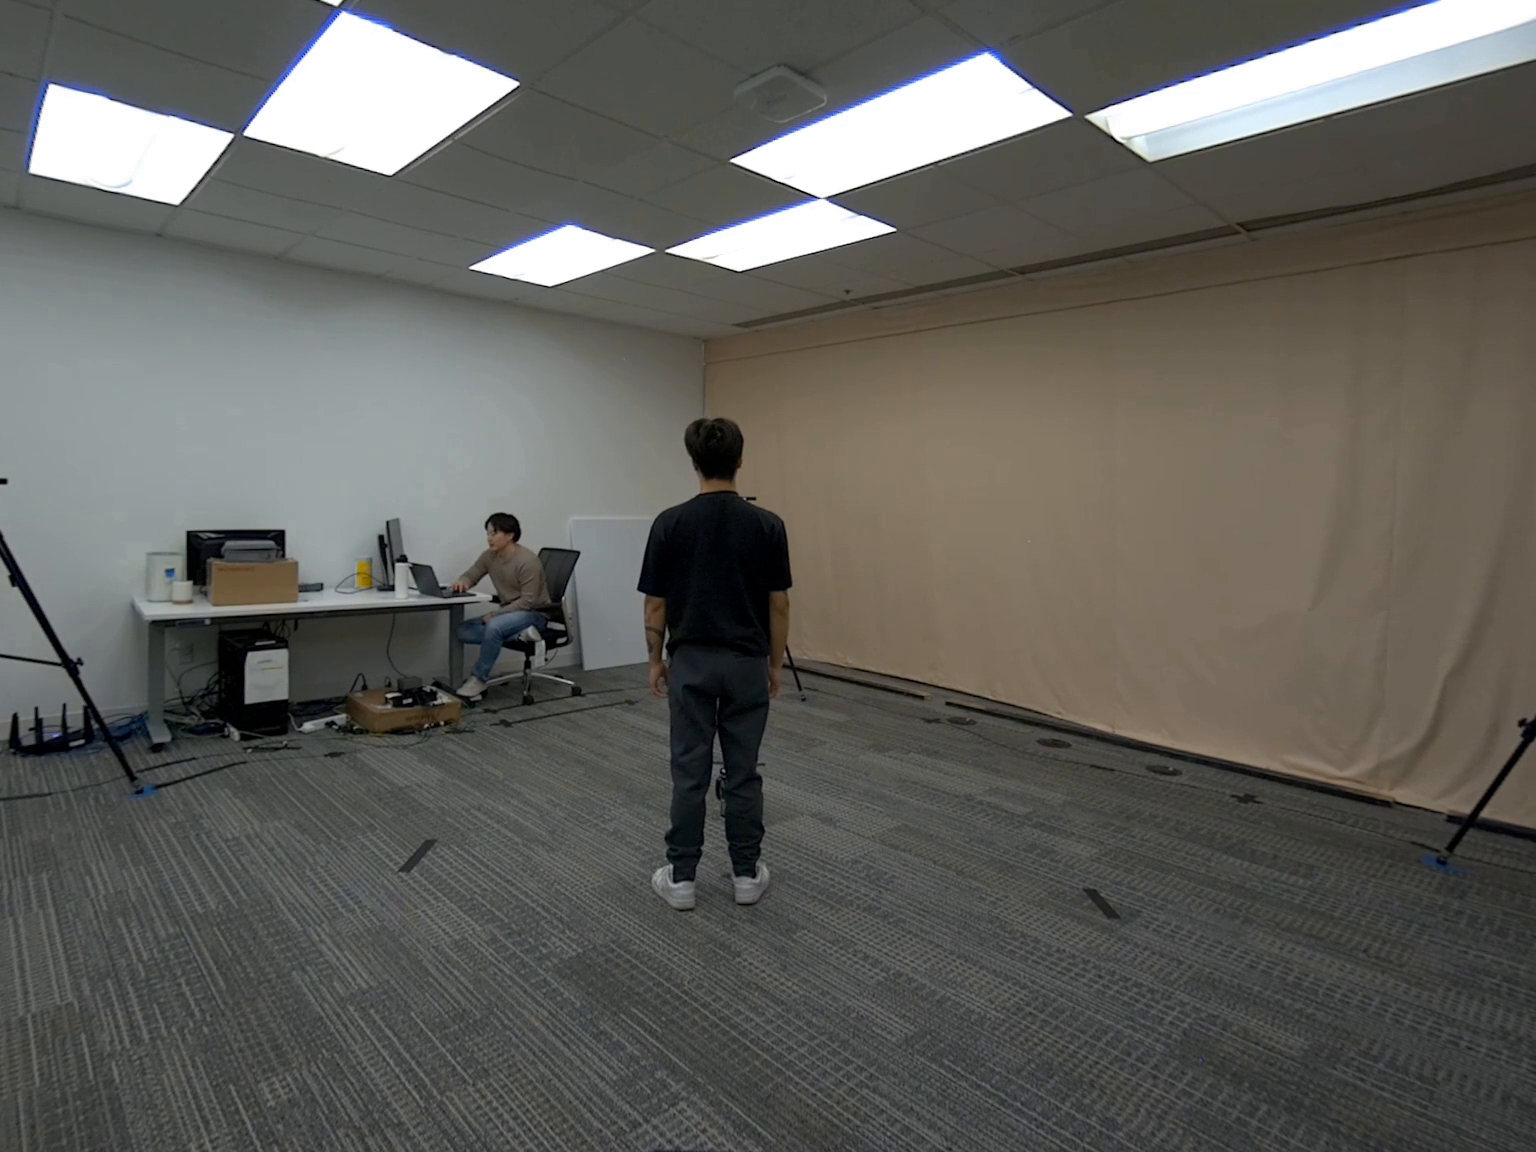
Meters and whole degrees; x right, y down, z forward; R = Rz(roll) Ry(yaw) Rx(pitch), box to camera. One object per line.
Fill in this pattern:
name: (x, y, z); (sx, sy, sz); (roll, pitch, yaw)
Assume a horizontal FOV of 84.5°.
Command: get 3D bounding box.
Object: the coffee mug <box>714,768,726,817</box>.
coffee mug: (-0.201, 0.956, 3.694); (0.119, 0.202, 0.090); (1, 6, -44)
